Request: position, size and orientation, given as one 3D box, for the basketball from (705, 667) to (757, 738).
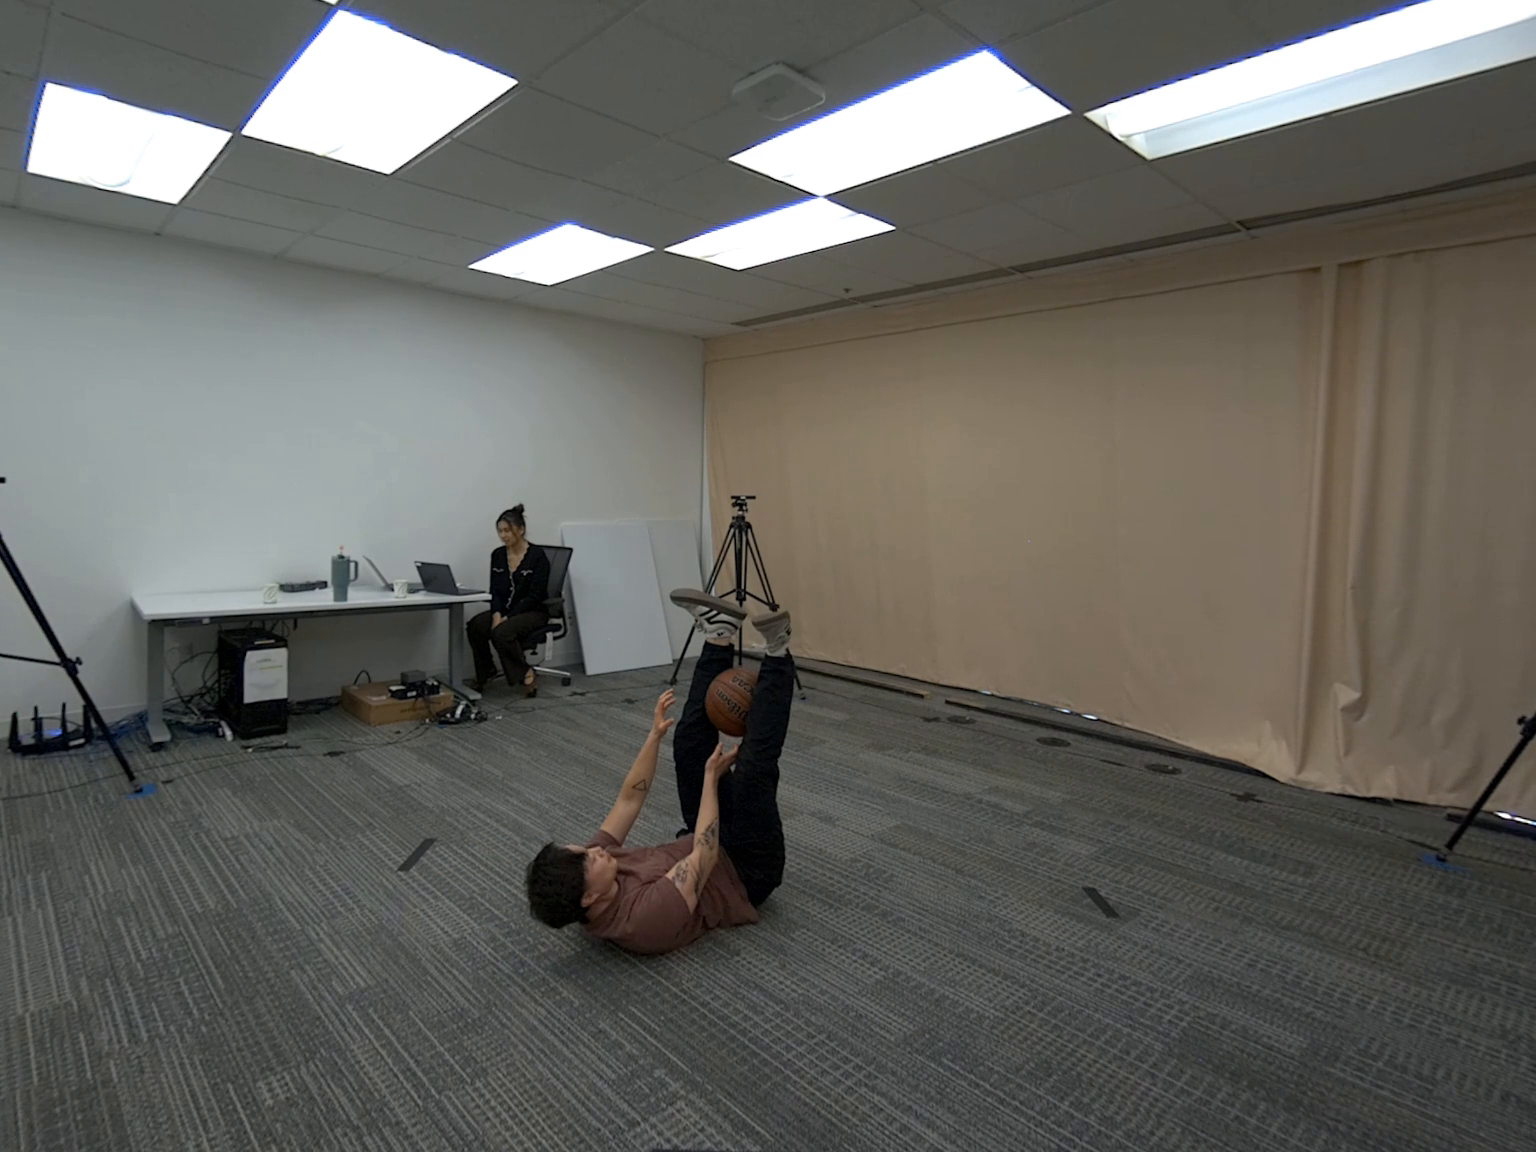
[{"bbox_3d":[-0.106,0.439,2.897,0.236,0.235,0.237,2,4,-2],"label":"basketball"}]
